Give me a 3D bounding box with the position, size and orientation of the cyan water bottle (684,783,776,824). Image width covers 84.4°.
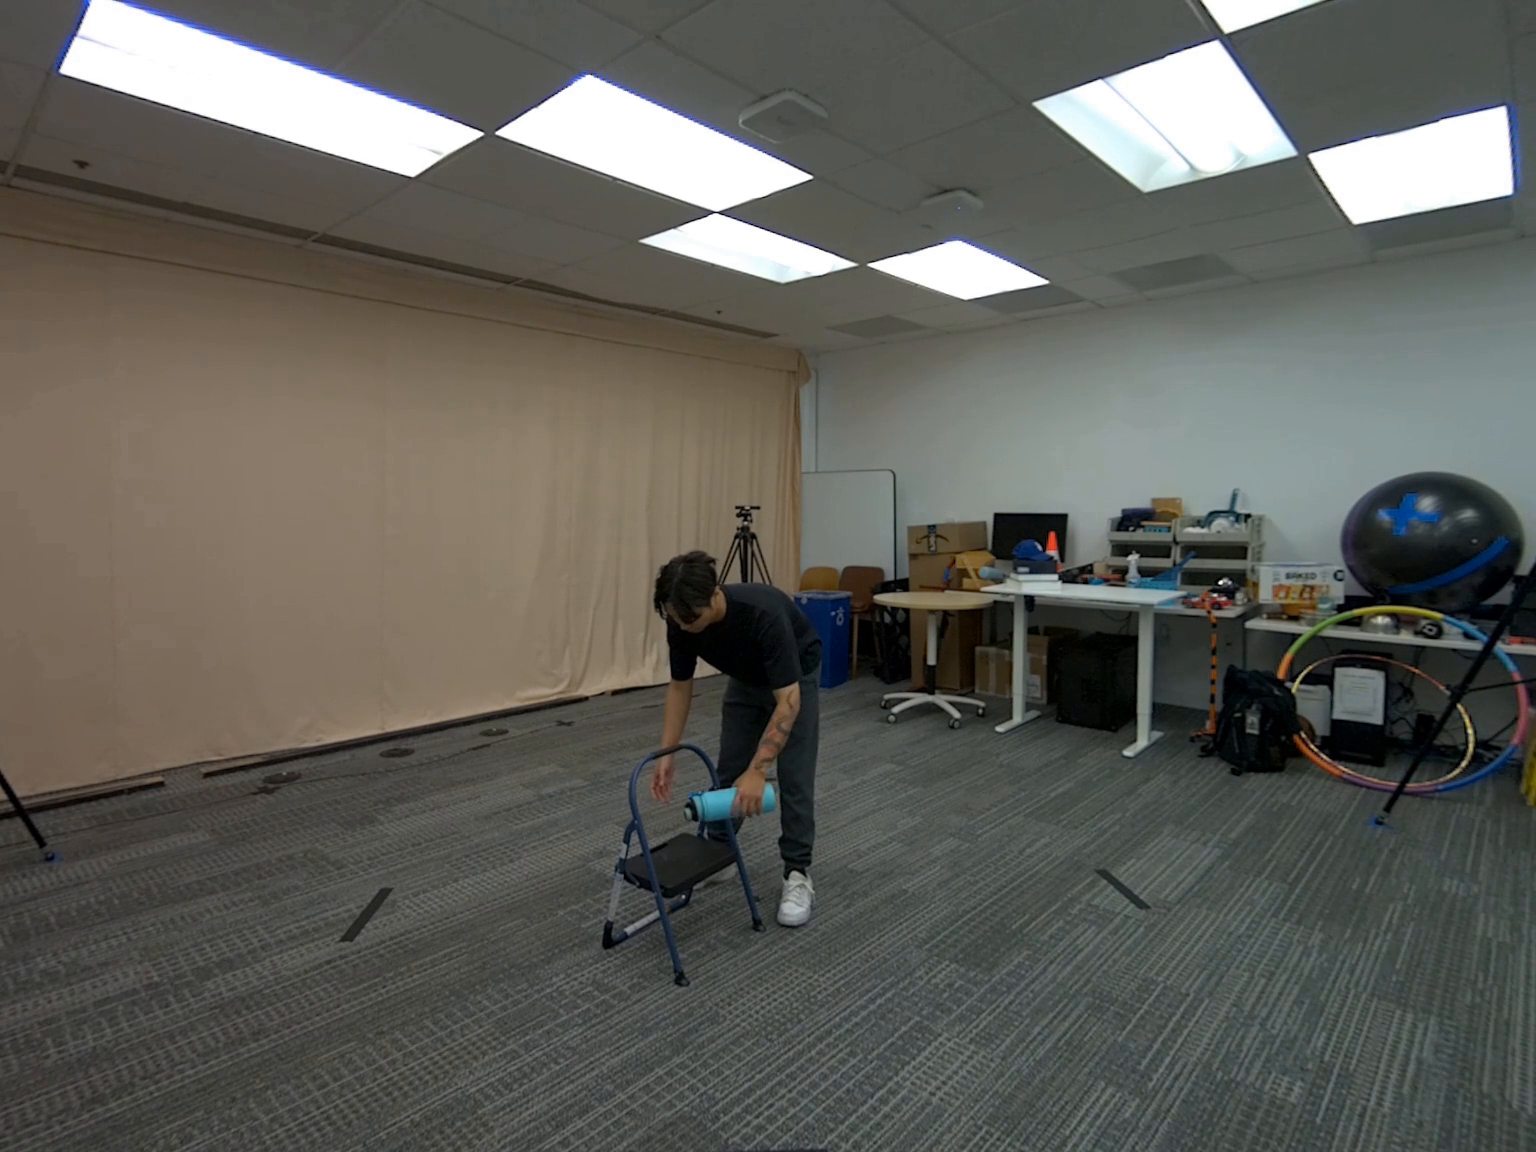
[{"bbox_3d":[-0.123,0.704,2.616,0.278,0.092,0.094,-4,5,-18],"label":"cyan water bottle"}]
